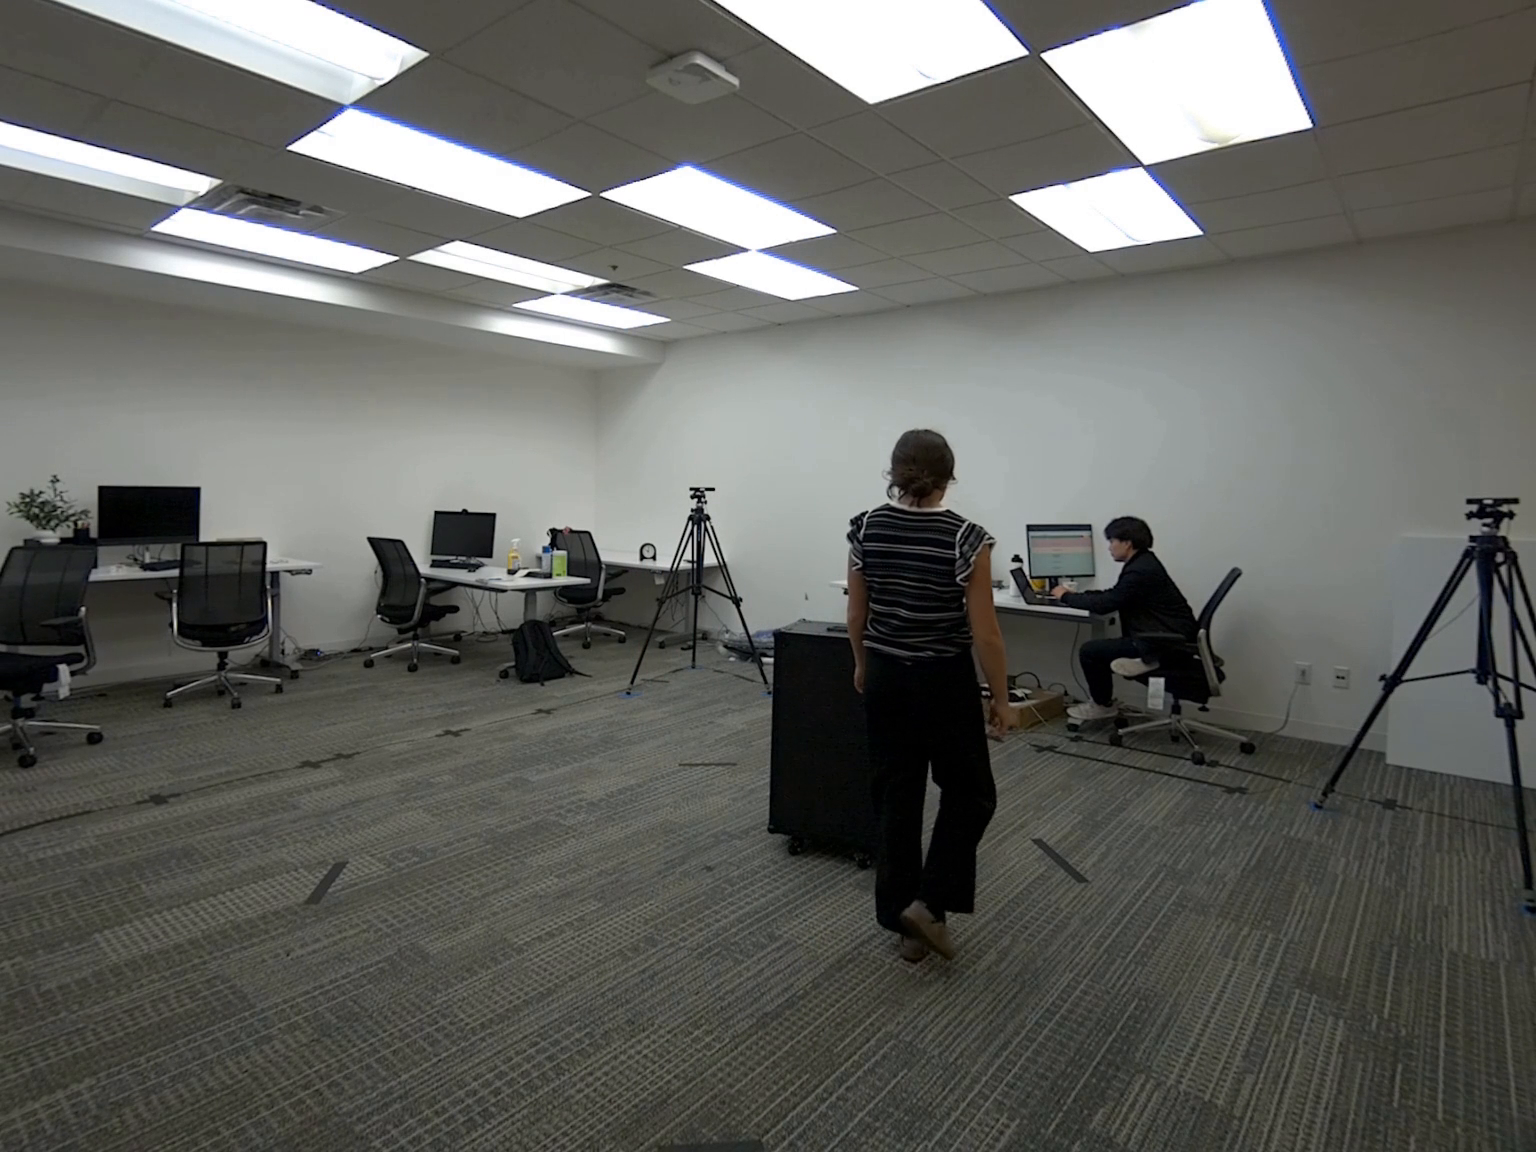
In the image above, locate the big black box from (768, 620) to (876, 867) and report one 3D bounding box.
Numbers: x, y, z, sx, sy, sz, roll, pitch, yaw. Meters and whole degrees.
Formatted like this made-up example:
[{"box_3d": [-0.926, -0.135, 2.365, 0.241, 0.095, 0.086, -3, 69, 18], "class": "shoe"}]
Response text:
[{"box_3d": [0.281, 0.631, 3.344, 0.533, 0.860, 0.388, 3, 2, 21], "class": "big black box"}]
